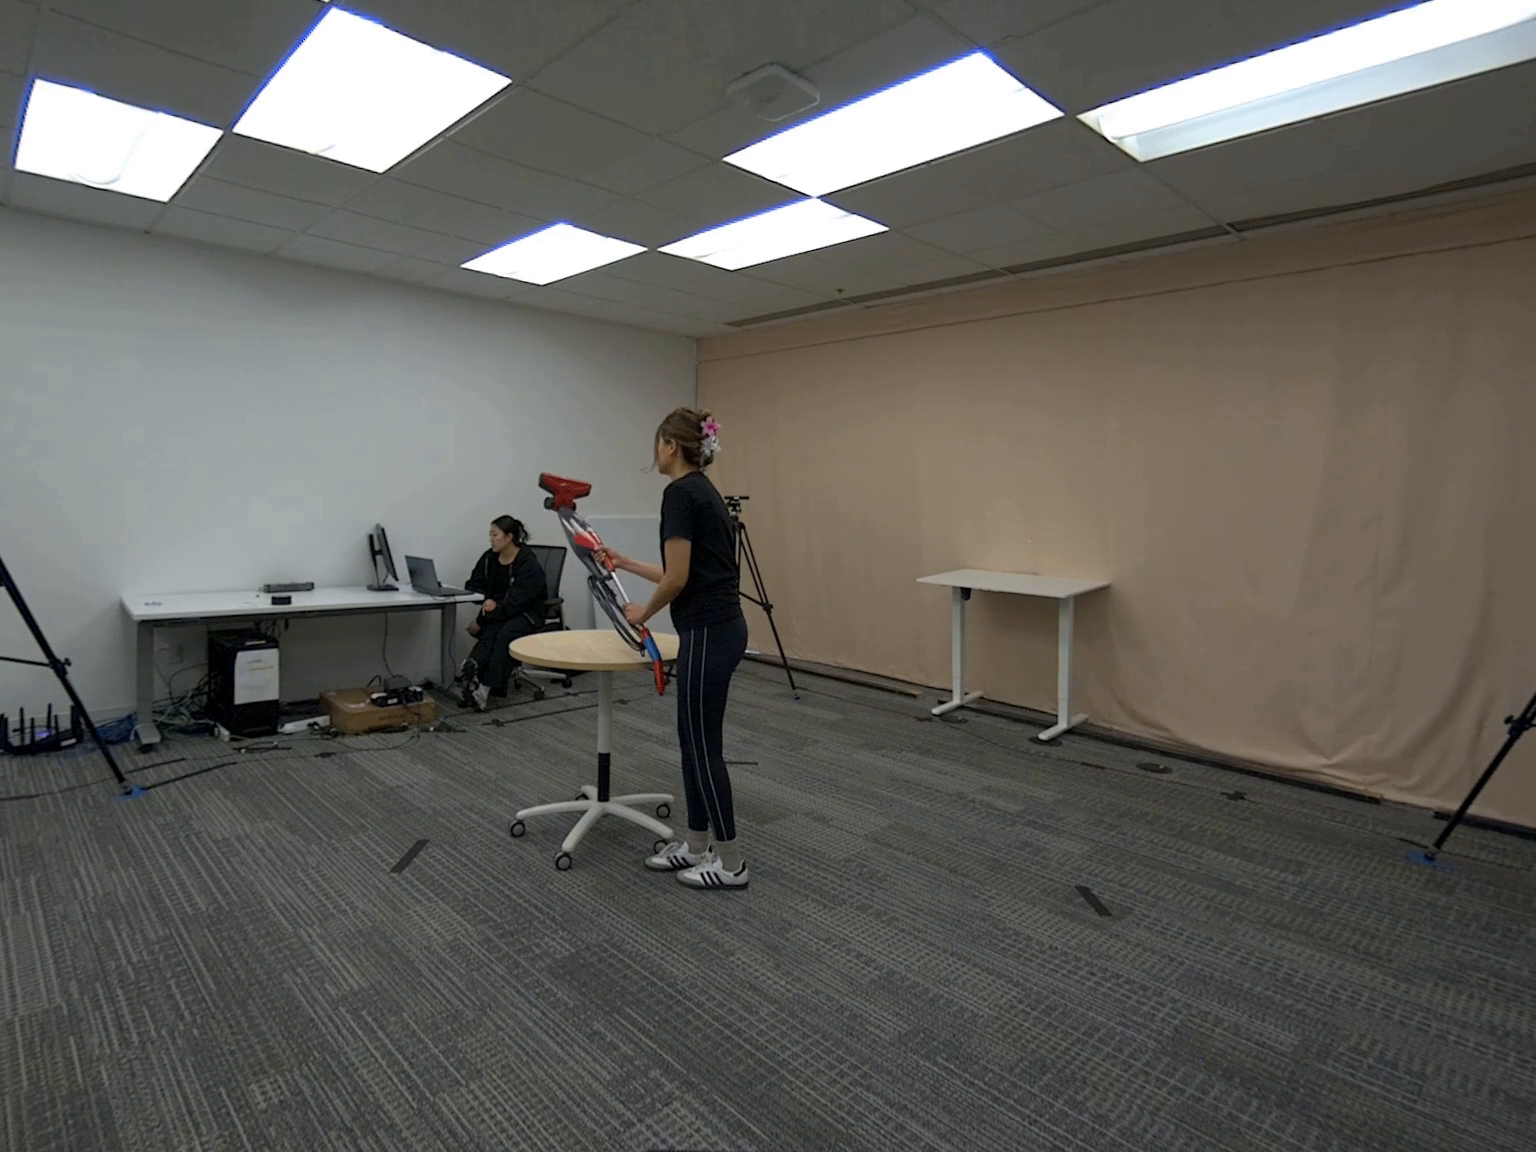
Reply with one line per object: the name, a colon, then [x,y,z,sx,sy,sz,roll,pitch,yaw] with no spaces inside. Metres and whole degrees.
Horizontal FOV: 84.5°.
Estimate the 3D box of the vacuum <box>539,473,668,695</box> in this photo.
vacuum: [-0.644,0.024,3.258,0.246,0.144,1.080,10,38,-46]
